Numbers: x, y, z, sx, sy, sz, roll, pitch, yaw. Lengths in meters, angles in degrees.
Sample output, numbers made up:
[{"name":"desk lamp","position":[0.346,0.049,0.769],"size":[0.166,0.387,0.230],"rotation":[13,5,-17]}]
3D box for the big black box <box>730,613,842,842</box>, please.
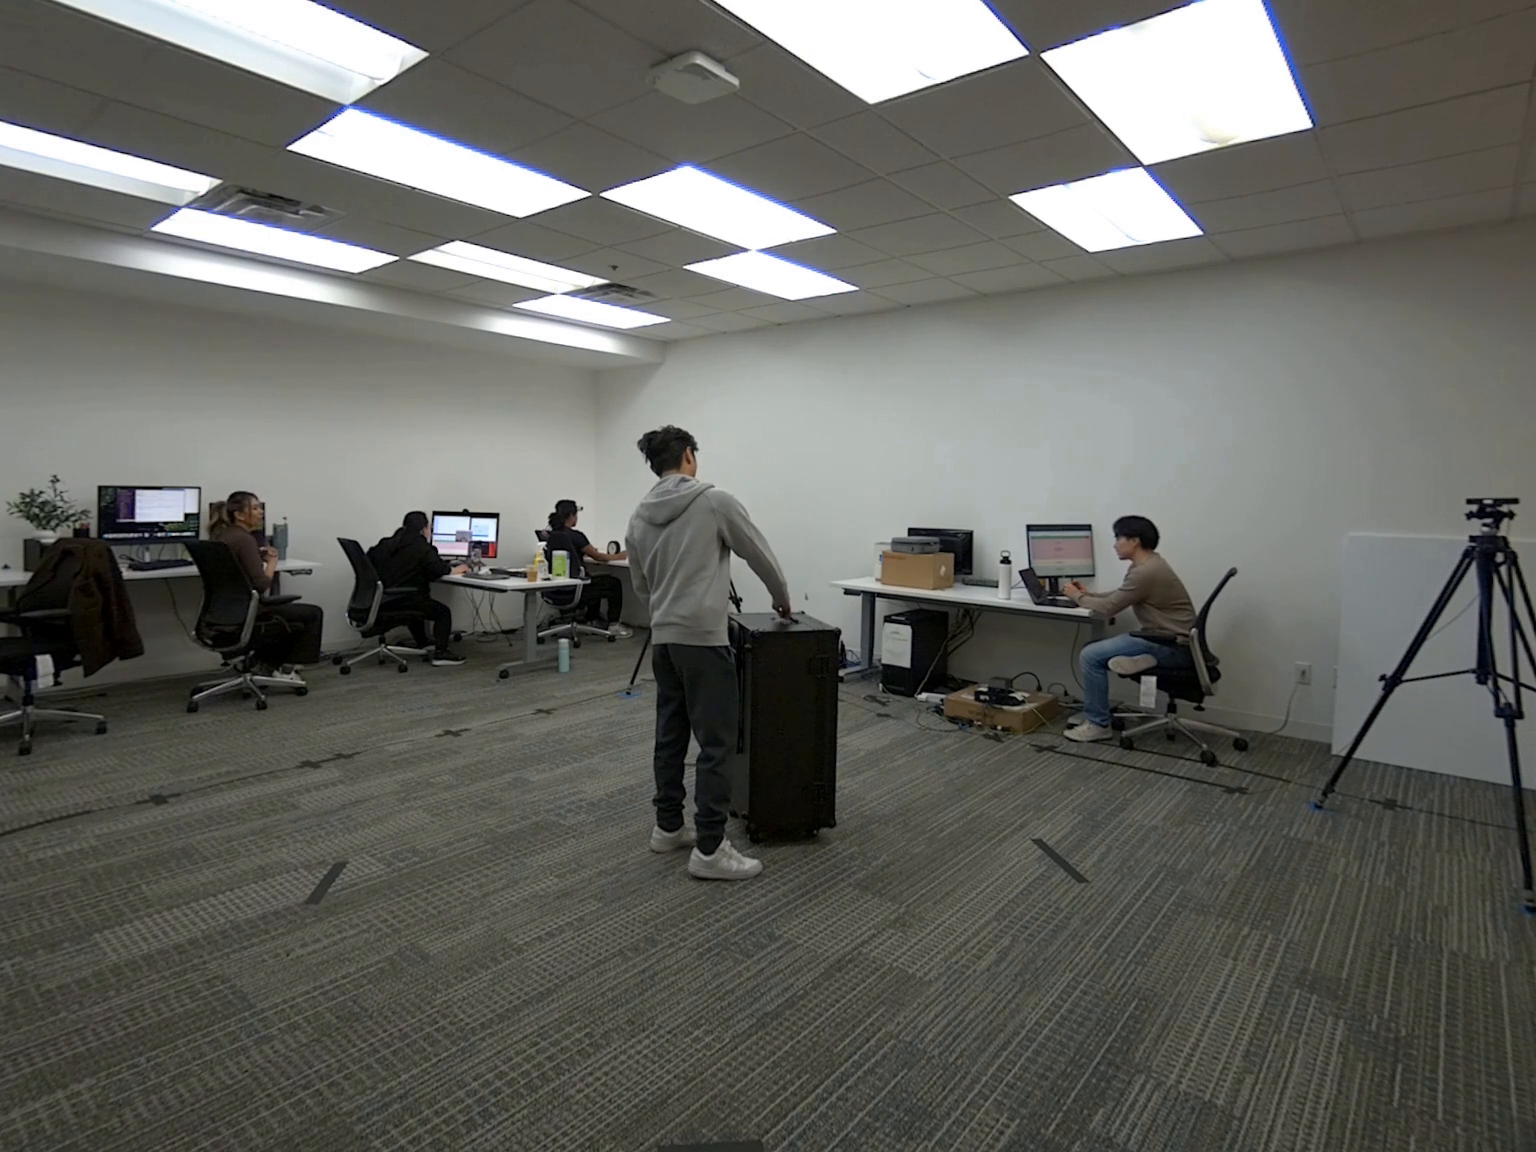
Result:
[{"name":"big black box","position":[0.027,0.605,3.516],"size":[0.391,0.858,0.530],"rotation":[0,4,-14]}]
